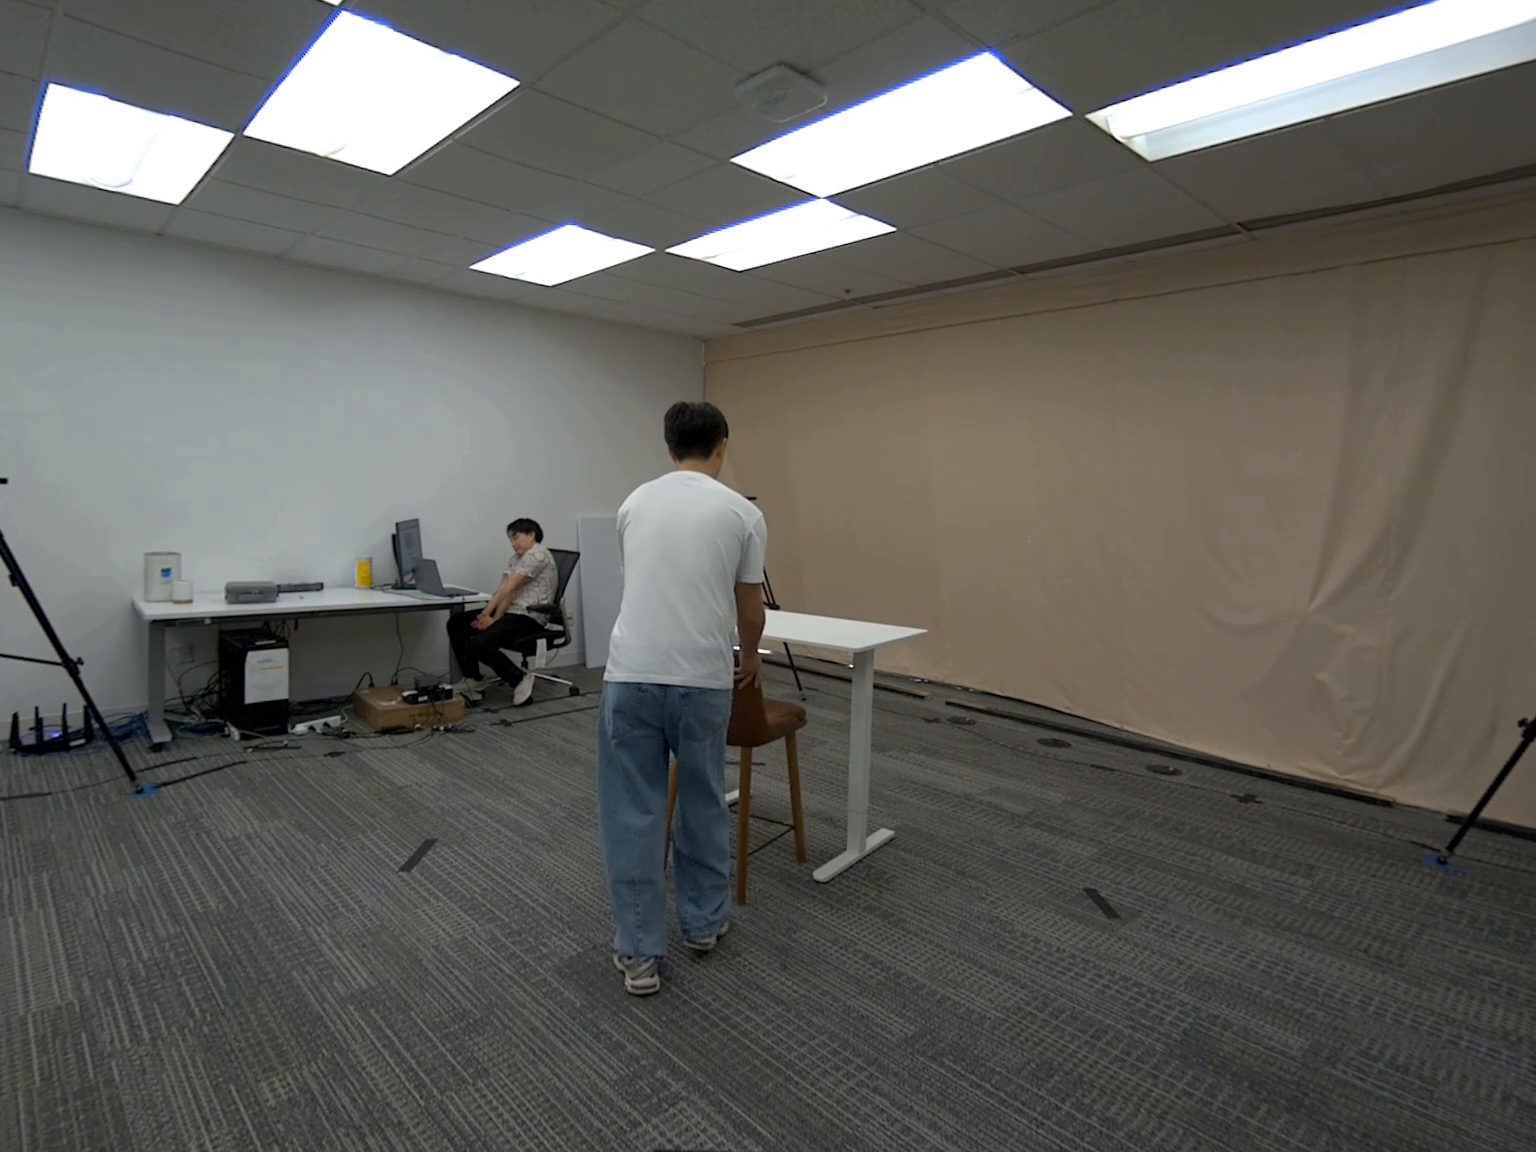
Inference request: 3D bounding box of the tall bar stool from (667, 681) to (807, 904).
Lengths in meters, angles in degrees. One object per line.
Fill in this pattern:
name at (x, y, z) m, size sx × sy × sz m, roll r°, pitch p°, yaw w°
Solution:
tall bar stool at (-0.137, 0.667, 3.120) m, size 0.467 × 0.886 × 0.459 m, roll 4°, pitch 6°, yaw 32°
